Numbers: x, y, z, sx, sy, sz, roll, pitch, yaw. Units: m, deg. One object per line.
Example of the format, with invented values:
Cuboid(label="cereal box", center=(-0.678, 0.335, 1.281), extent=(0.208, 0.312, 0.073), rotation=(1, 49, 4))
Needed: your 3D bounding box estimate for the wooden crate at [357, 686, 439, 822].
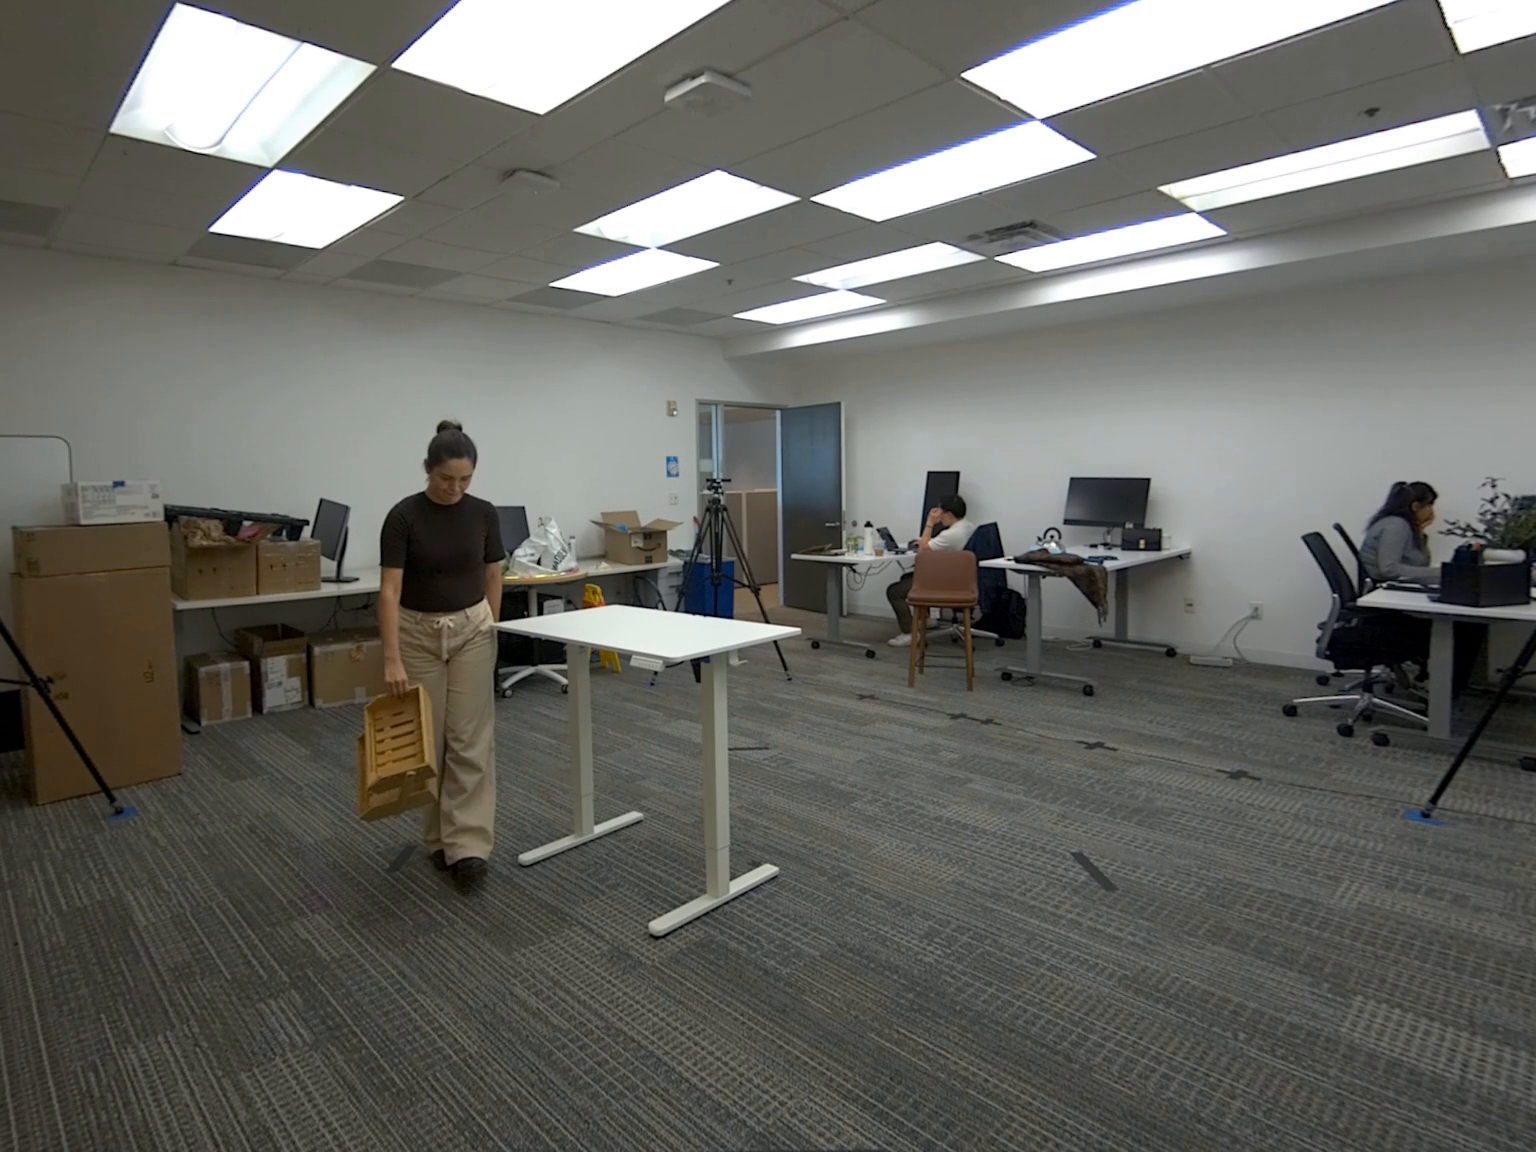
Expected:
Cuboid(label="wooden crate", center=(-1.255, 0.591, 2.843), extent=(0.300, 0.336, 0.265), rotation=(-15, -38, -10))
